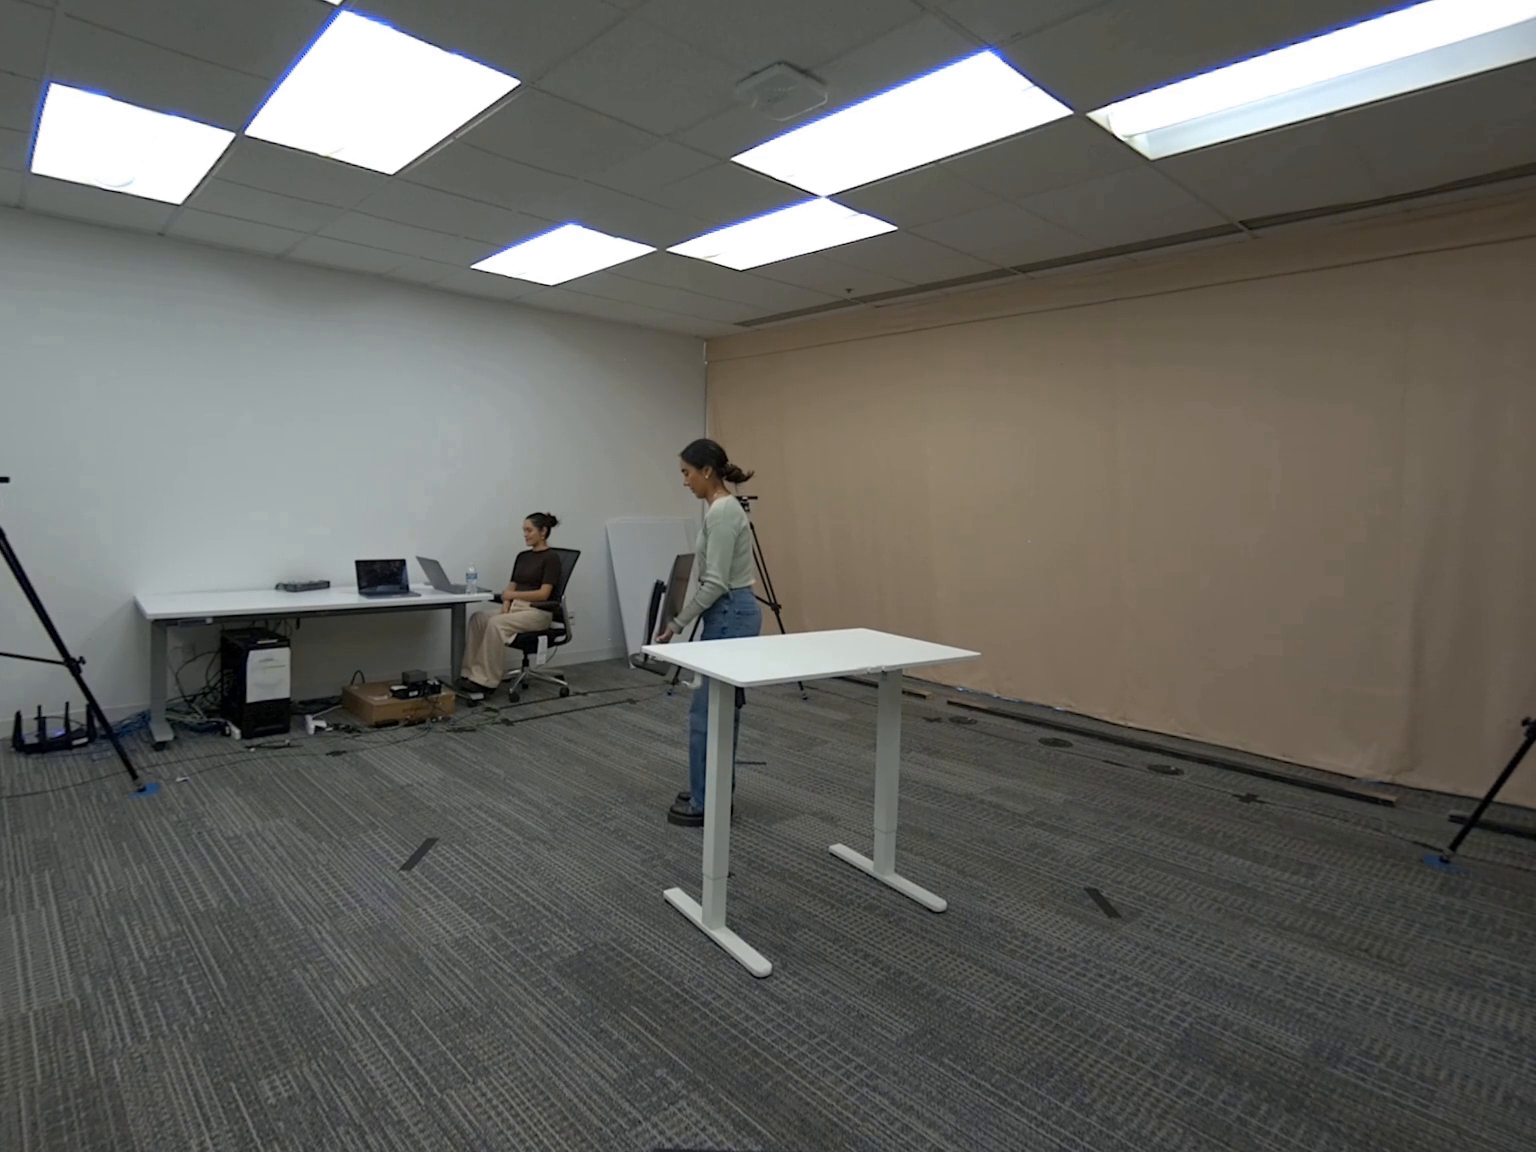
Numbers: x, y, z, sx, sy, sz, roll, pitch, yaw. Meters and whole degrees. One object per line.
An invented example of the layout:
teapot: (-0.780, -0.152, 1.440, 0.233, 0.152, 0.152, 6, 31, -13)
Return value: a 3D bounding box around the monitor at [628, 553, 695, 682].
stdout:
monitor: (-0.442, 0.146, 3.630, 0.187, 0.522, 0.539, 19, 2, -2)
